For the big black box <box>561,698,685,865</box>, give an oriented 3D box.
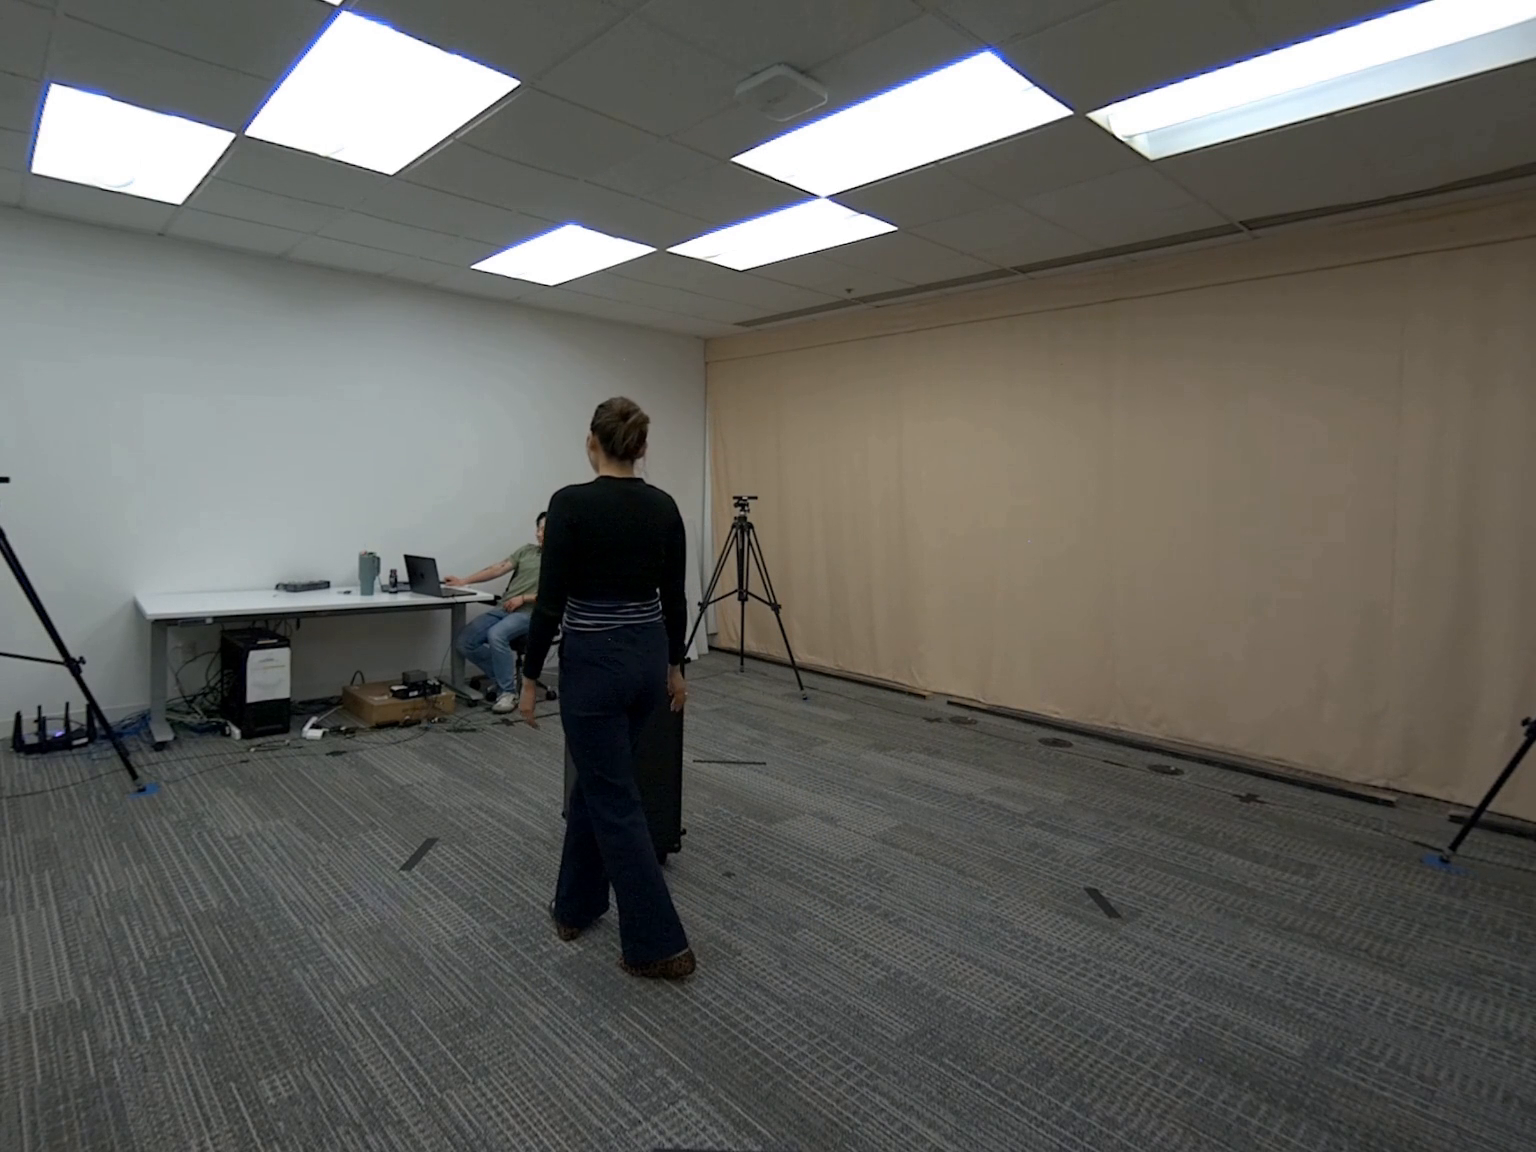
[{"bbox_3d":[-0.568,0.653,3.276,0.389,0.860,0.531,1,3,-23],"label":"big black box"}]
